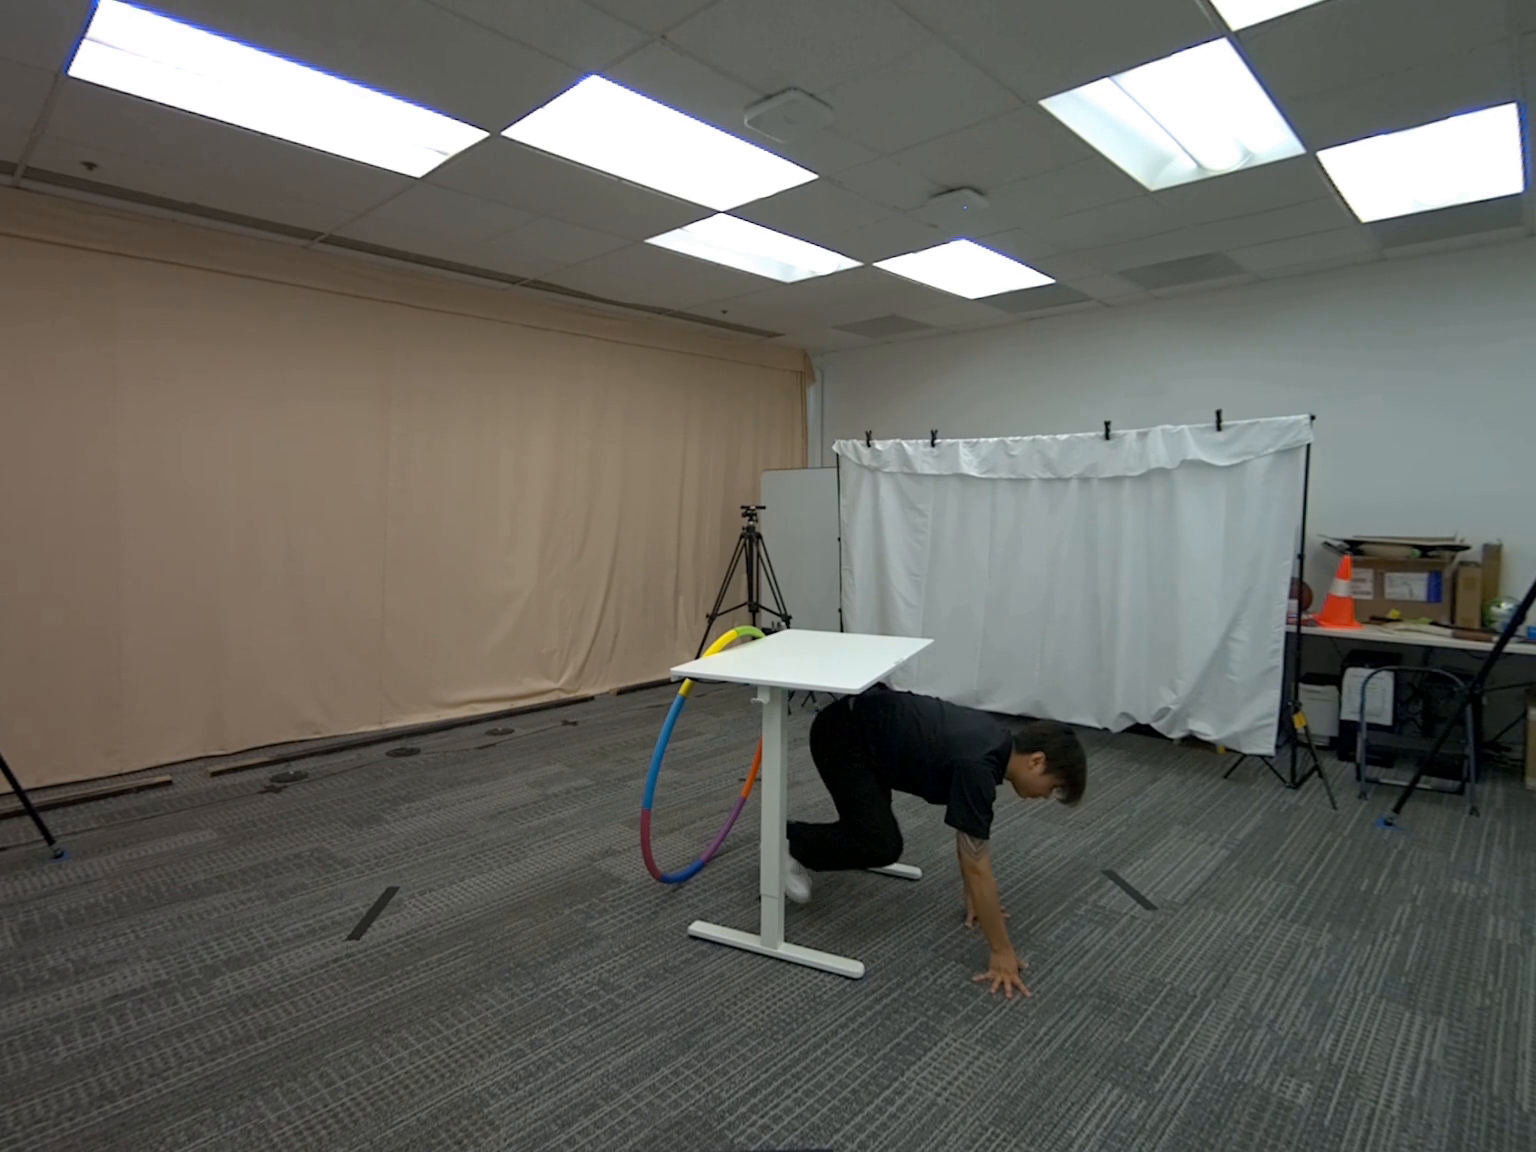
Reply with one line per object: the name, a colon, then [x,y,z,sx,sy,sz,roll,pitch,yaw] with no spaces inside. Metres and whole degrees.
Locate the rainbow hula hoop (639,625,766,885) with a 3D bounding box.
rainbow hula hoop: [-0.188,0.661,3.134,0.036,0.975,0.956,14,9,22]
